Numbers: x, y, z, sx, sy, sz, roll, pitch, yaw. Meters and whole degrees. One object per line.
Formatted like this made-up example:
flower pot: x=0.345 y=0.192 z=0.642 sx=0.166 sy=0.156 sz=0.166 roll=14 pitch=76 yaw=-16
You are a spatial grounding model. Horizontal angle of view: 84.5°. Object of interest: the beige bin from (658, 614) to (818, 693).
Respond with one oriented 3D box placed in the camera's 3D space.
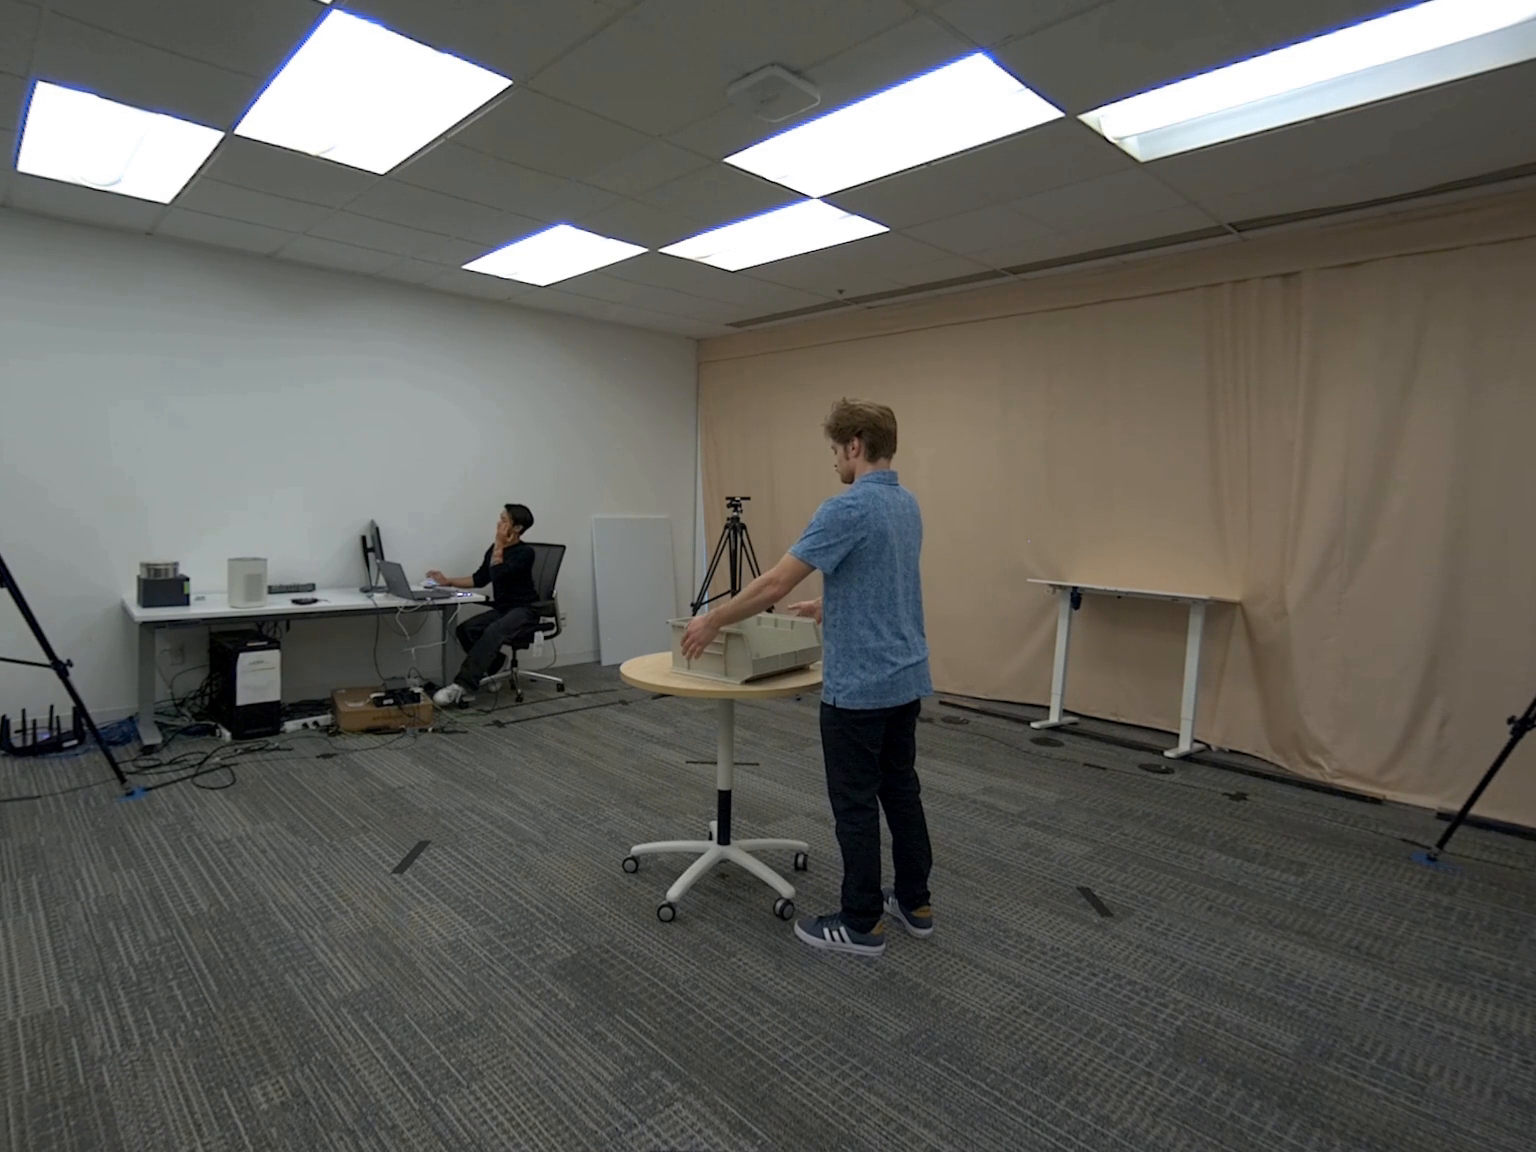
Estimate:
beige bin: x=-0.103 y=0.253 z=2.965 sx=0.386 sy=0.188 sz=0.413 roll=3 pitch=5 yaw=38
